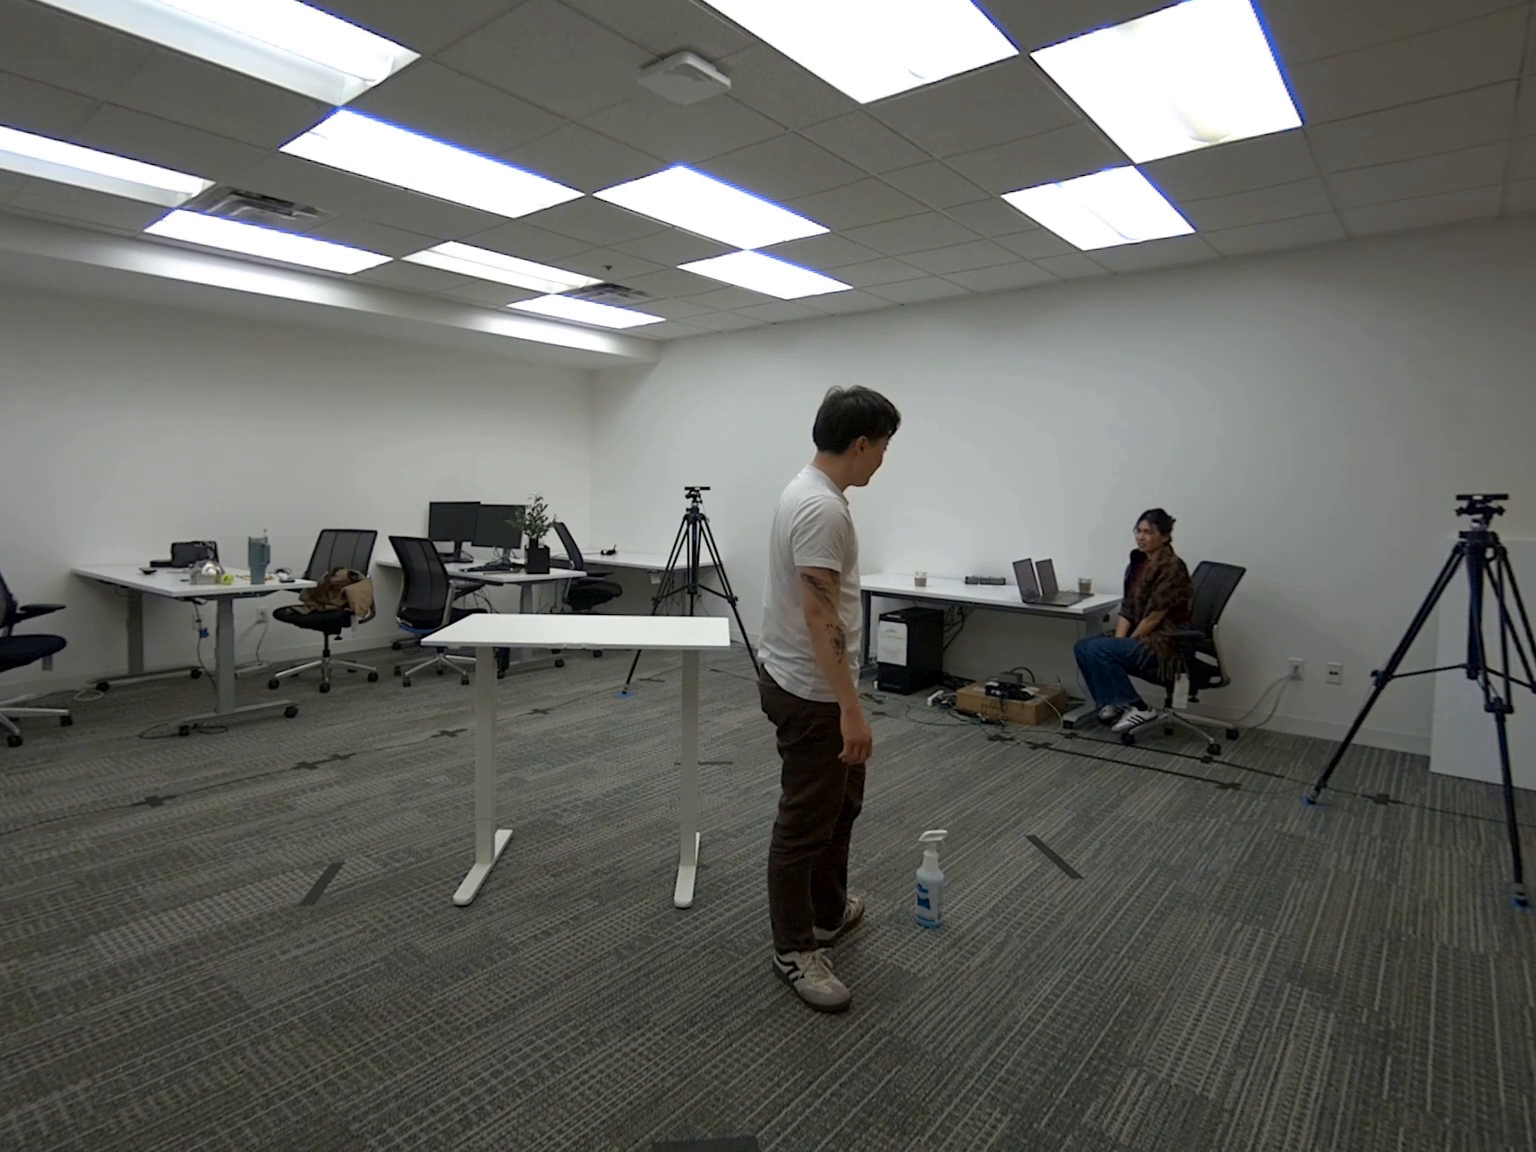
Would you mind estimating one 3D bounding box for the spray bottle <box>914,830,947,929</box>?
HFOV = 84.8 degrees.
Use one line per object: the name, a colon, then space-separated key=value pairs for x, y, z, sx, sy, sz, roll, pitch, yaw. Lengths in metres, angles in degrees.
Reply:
spray bottle: x=0.523 y=0.972 z=2.750 sx=0.091 sy=0.297 sz=0.086 roll=2 pitch=2 yaw=15
